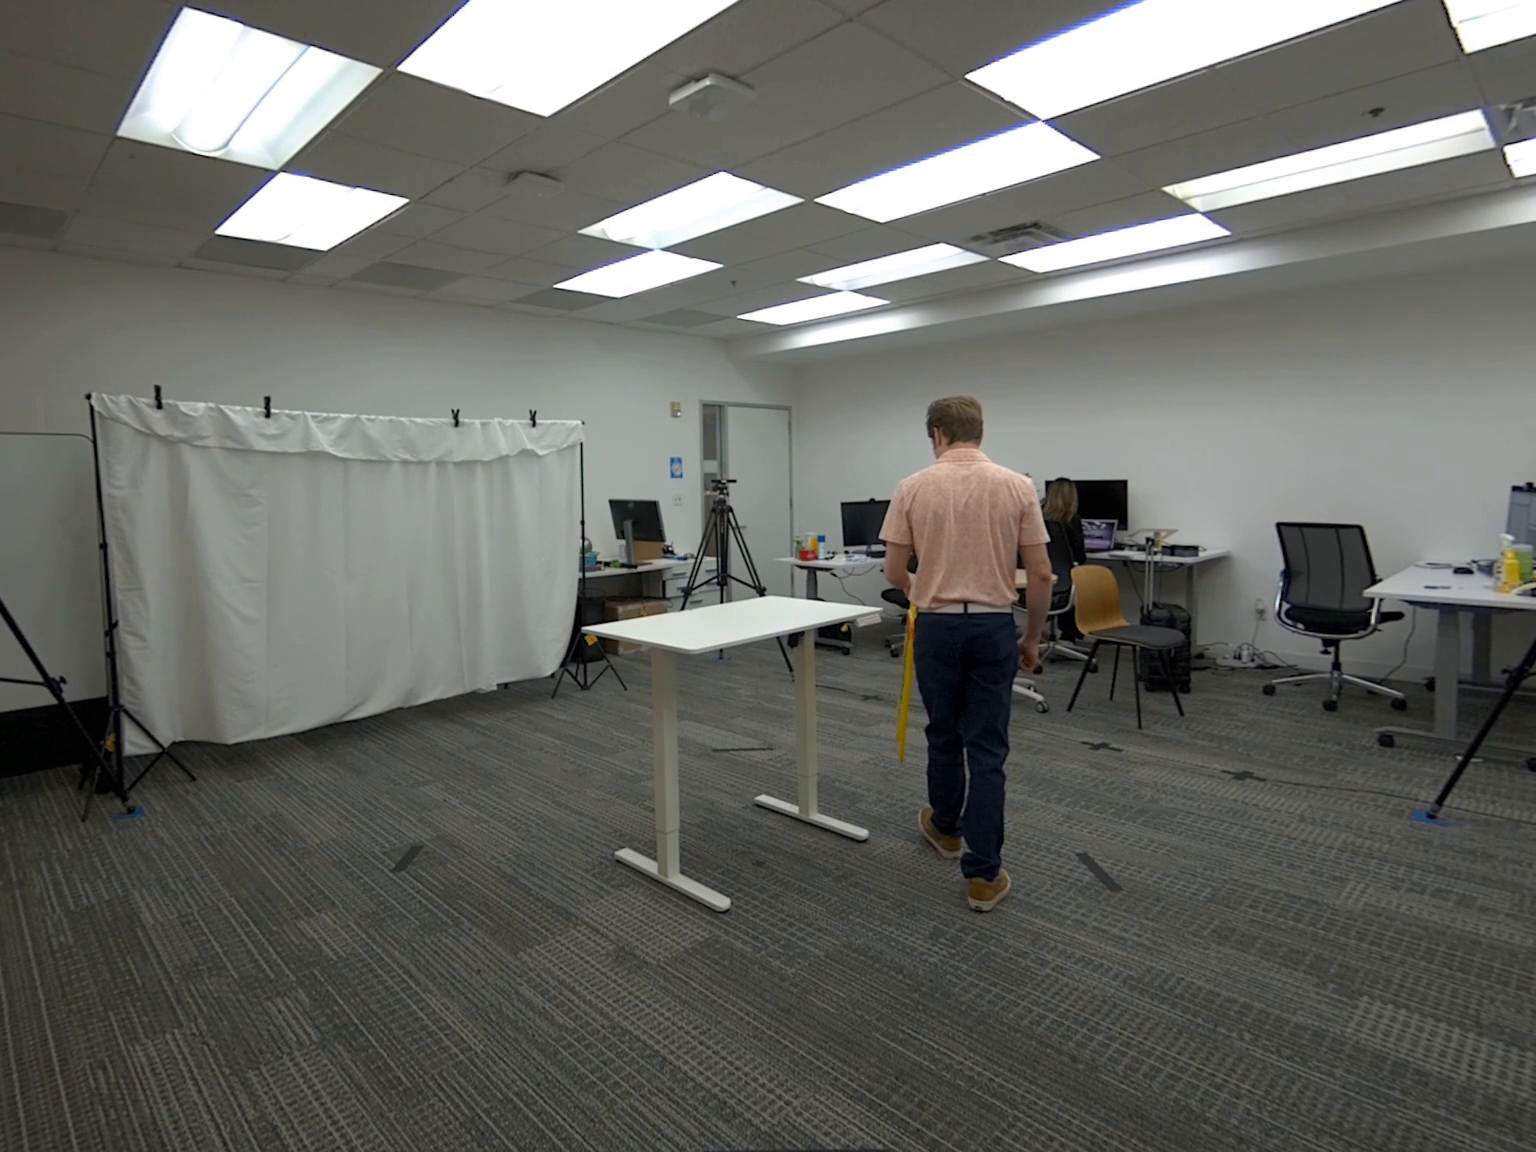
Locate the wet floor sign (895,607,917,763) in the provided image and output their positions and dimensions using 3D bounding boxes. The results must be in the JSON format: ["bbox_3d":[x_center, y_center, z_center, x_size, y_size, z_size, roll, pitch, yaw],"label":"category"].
[{"bbox_3d":[0.613,0.364,3.329,0.292,0.639,0.283,-6,10,8],"label":"wet floor sign"}]
